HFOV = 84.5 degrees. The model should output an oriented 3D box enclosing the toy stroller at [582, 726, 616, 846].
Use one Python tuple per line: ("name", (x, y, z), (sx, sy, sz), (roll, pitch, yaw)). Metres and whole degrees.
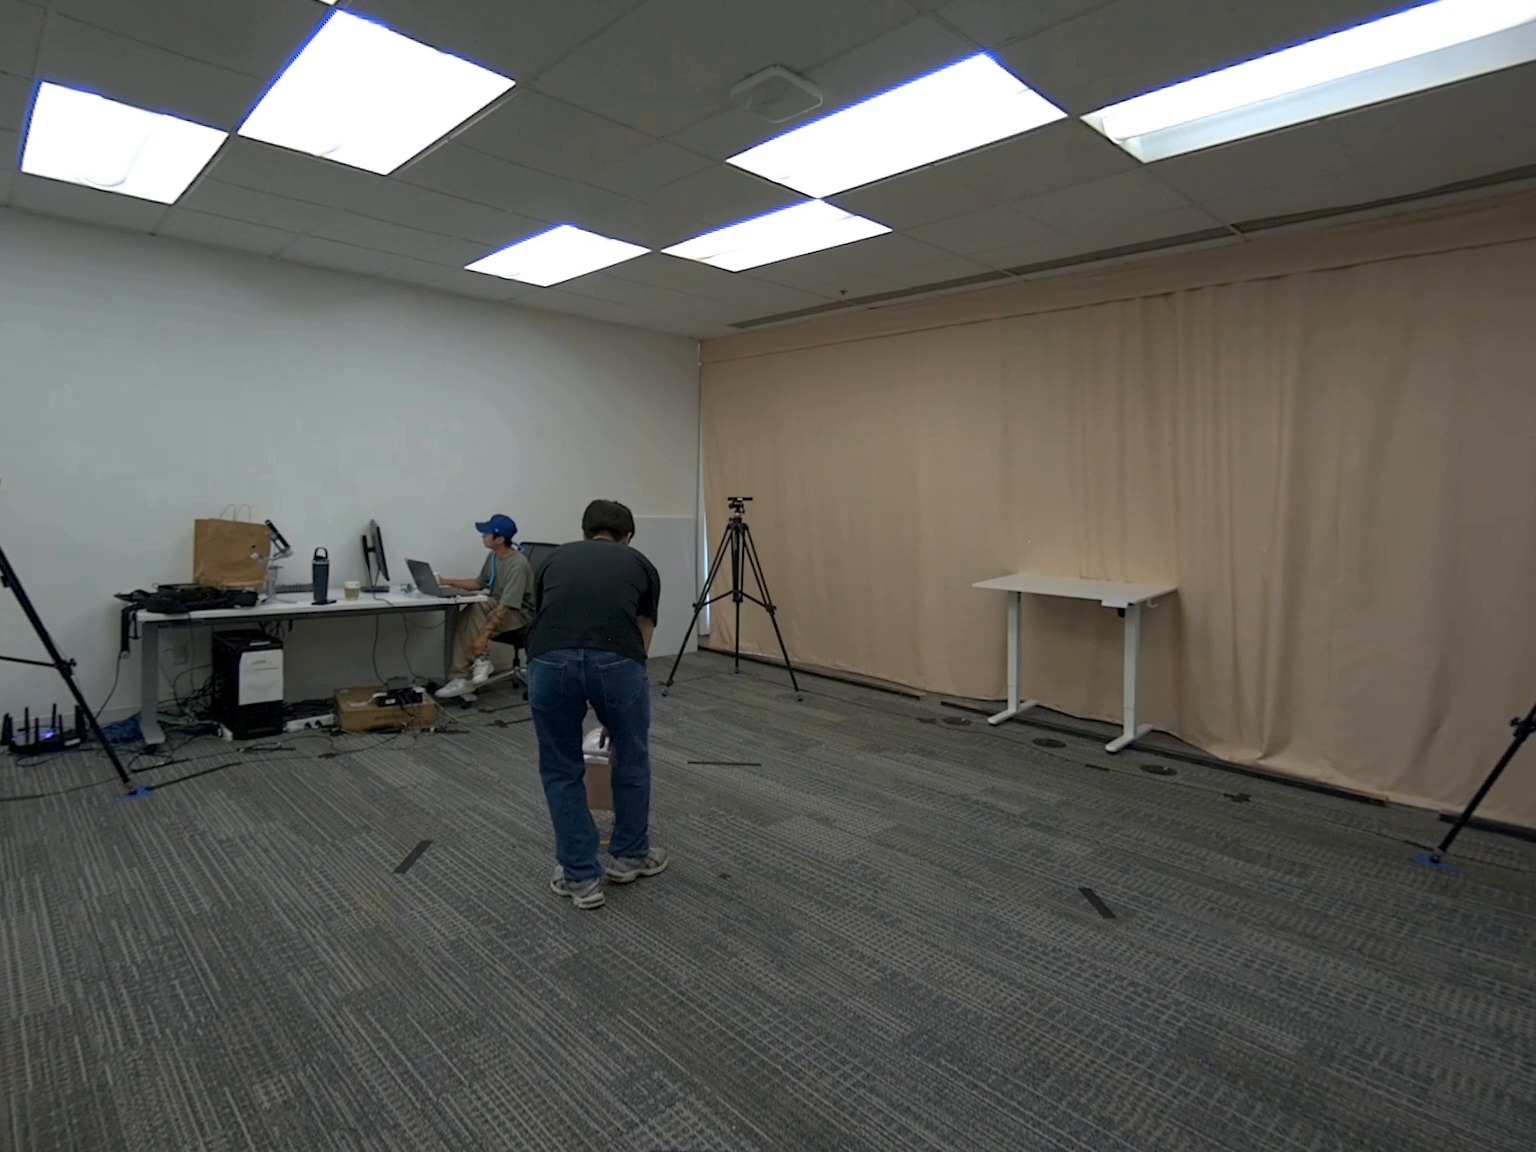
("toy stroller", (-0.661, 0.843, 3.381), (0.284, 0.528, 0.343), (3, 19, 10))
